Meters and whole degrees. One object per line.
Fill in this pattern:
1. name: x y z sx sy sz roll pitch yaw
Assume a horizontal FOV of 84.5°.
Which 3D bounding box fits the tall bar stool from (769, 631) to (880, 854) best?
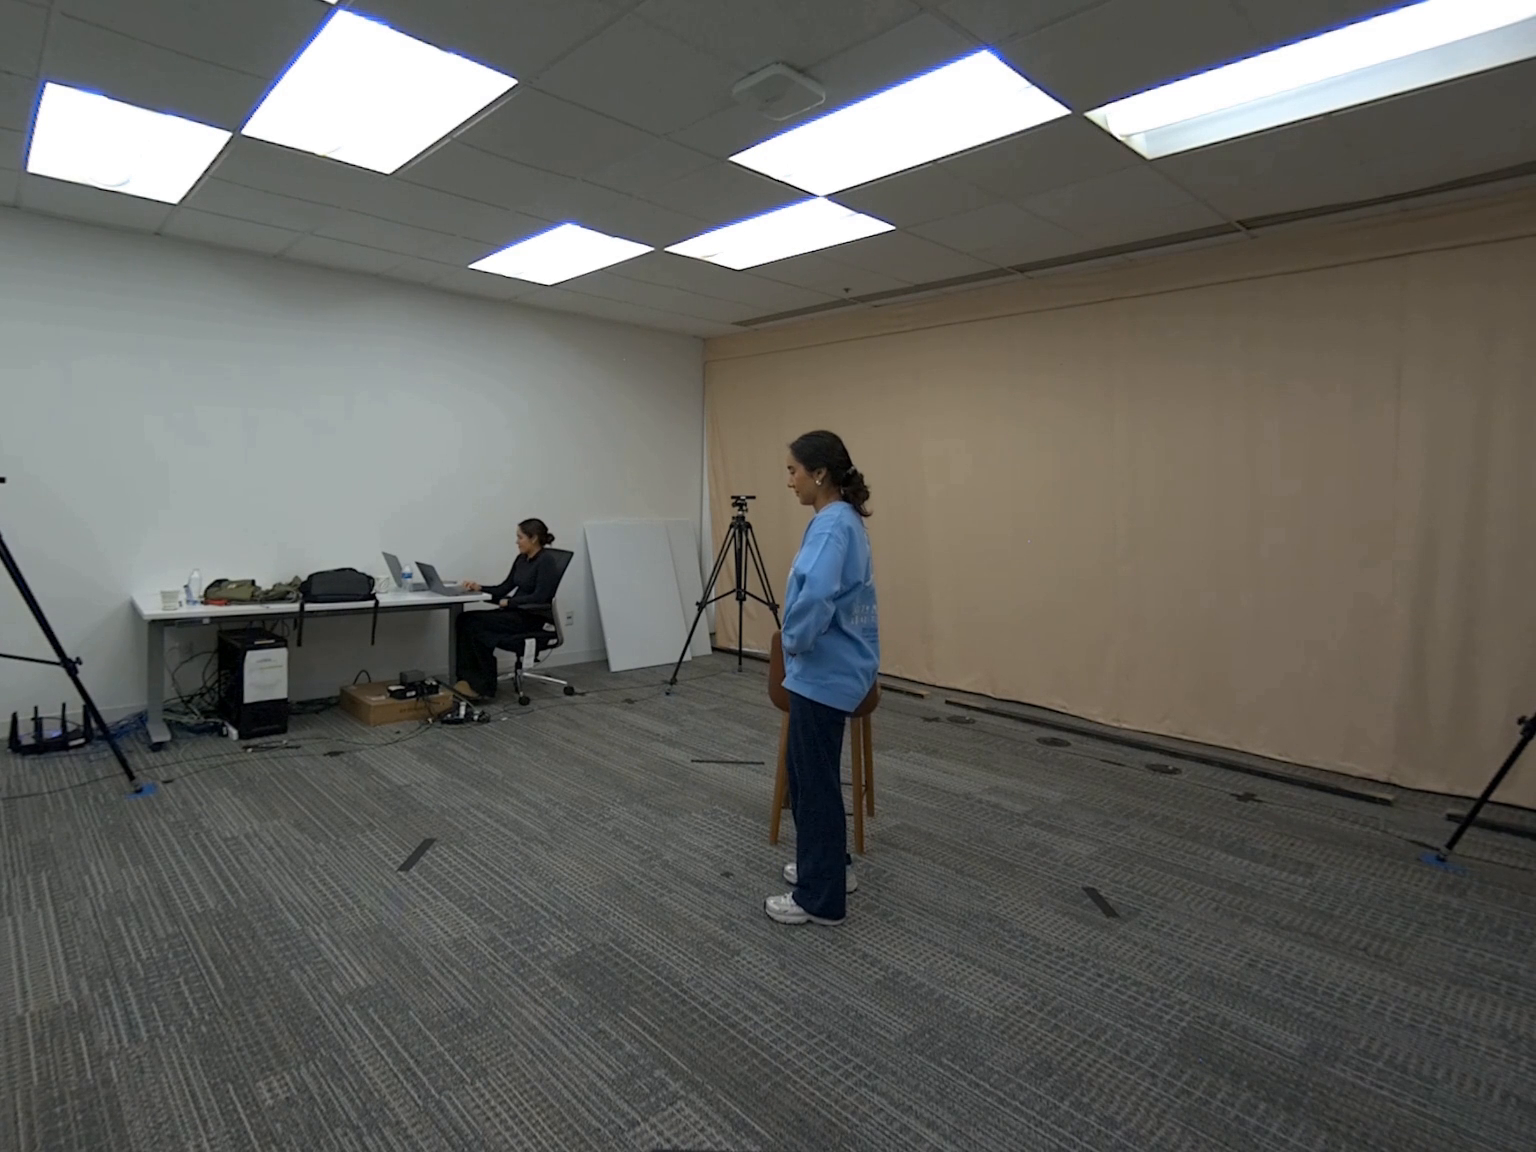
1. tall bar stool: 0.235 0.639 3.541 0.462 0.887 0.464 2 5 13
